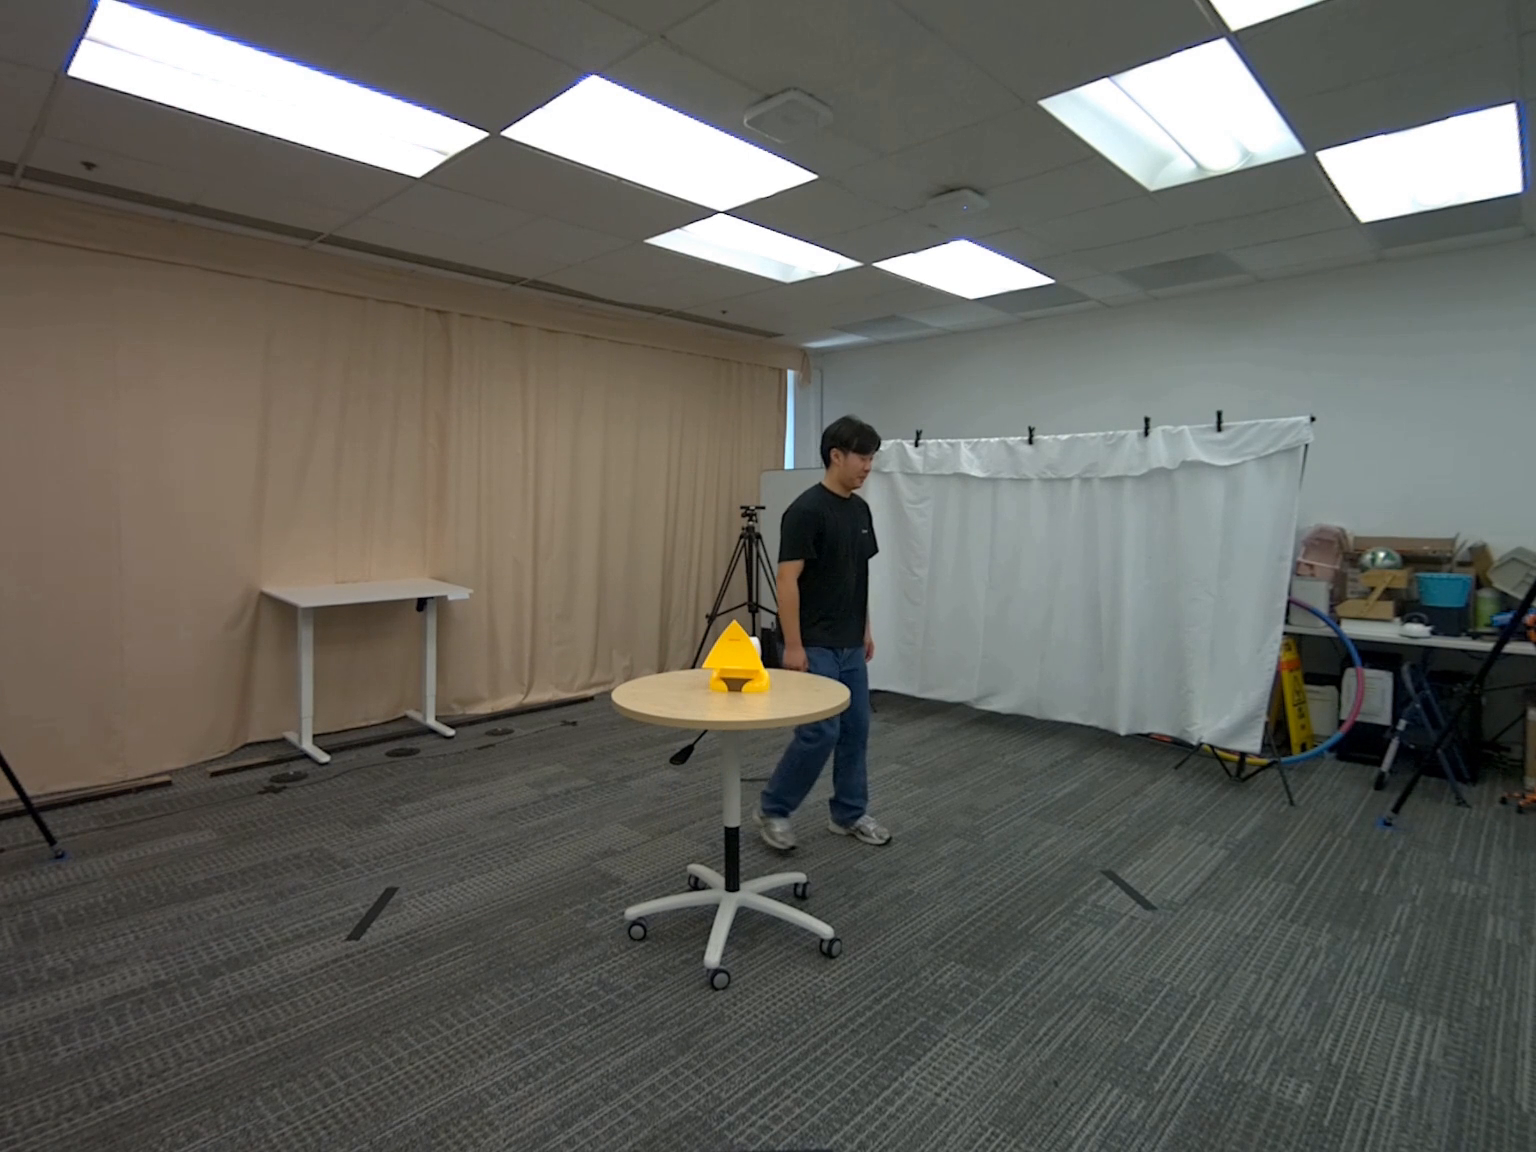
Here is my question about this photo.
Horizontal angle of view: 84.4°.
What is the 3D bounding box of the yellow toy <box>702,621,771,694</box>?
[{"bbox_3d":[-0.092,0.250,2.764,0.208,0.230,0.191,0,4,12],"label":"yellow toy"}]
